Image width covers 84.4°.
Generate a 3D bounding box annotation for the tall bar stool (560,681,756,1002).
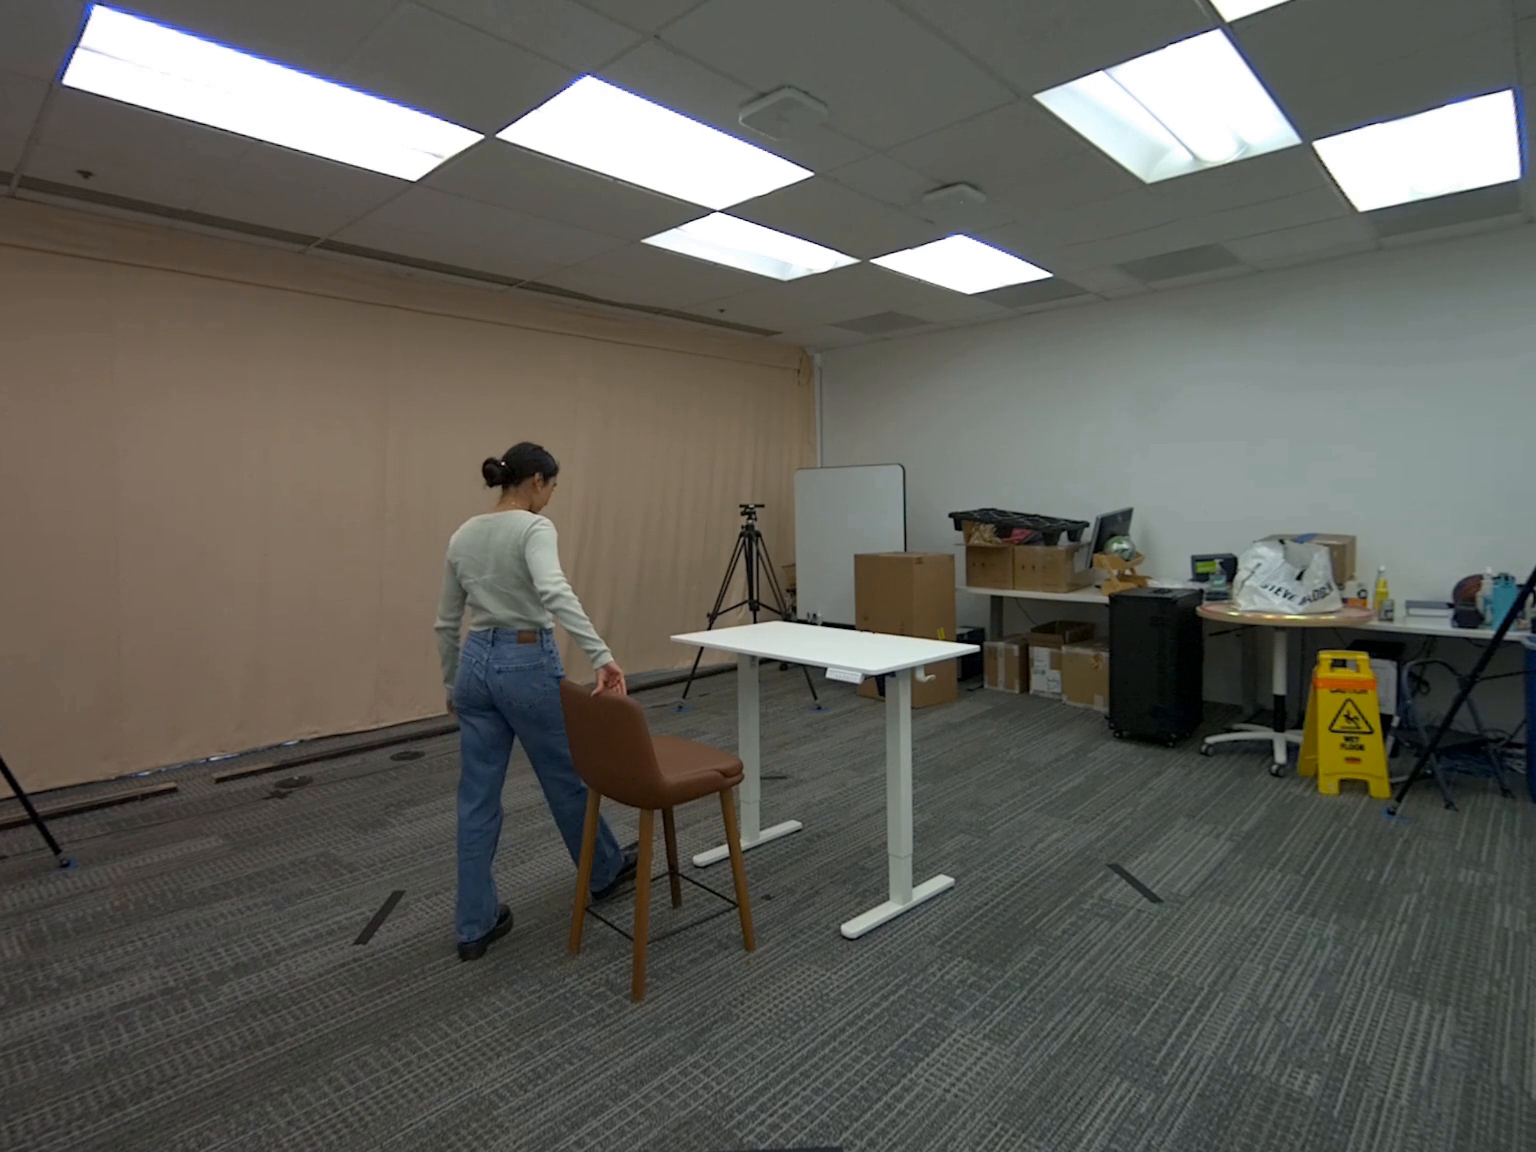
[{"bbox_3d":[-0.351,0.739,2.614,0.454,0.887,0.471,-7,6,-42],"label":"tall bar stool"}]
